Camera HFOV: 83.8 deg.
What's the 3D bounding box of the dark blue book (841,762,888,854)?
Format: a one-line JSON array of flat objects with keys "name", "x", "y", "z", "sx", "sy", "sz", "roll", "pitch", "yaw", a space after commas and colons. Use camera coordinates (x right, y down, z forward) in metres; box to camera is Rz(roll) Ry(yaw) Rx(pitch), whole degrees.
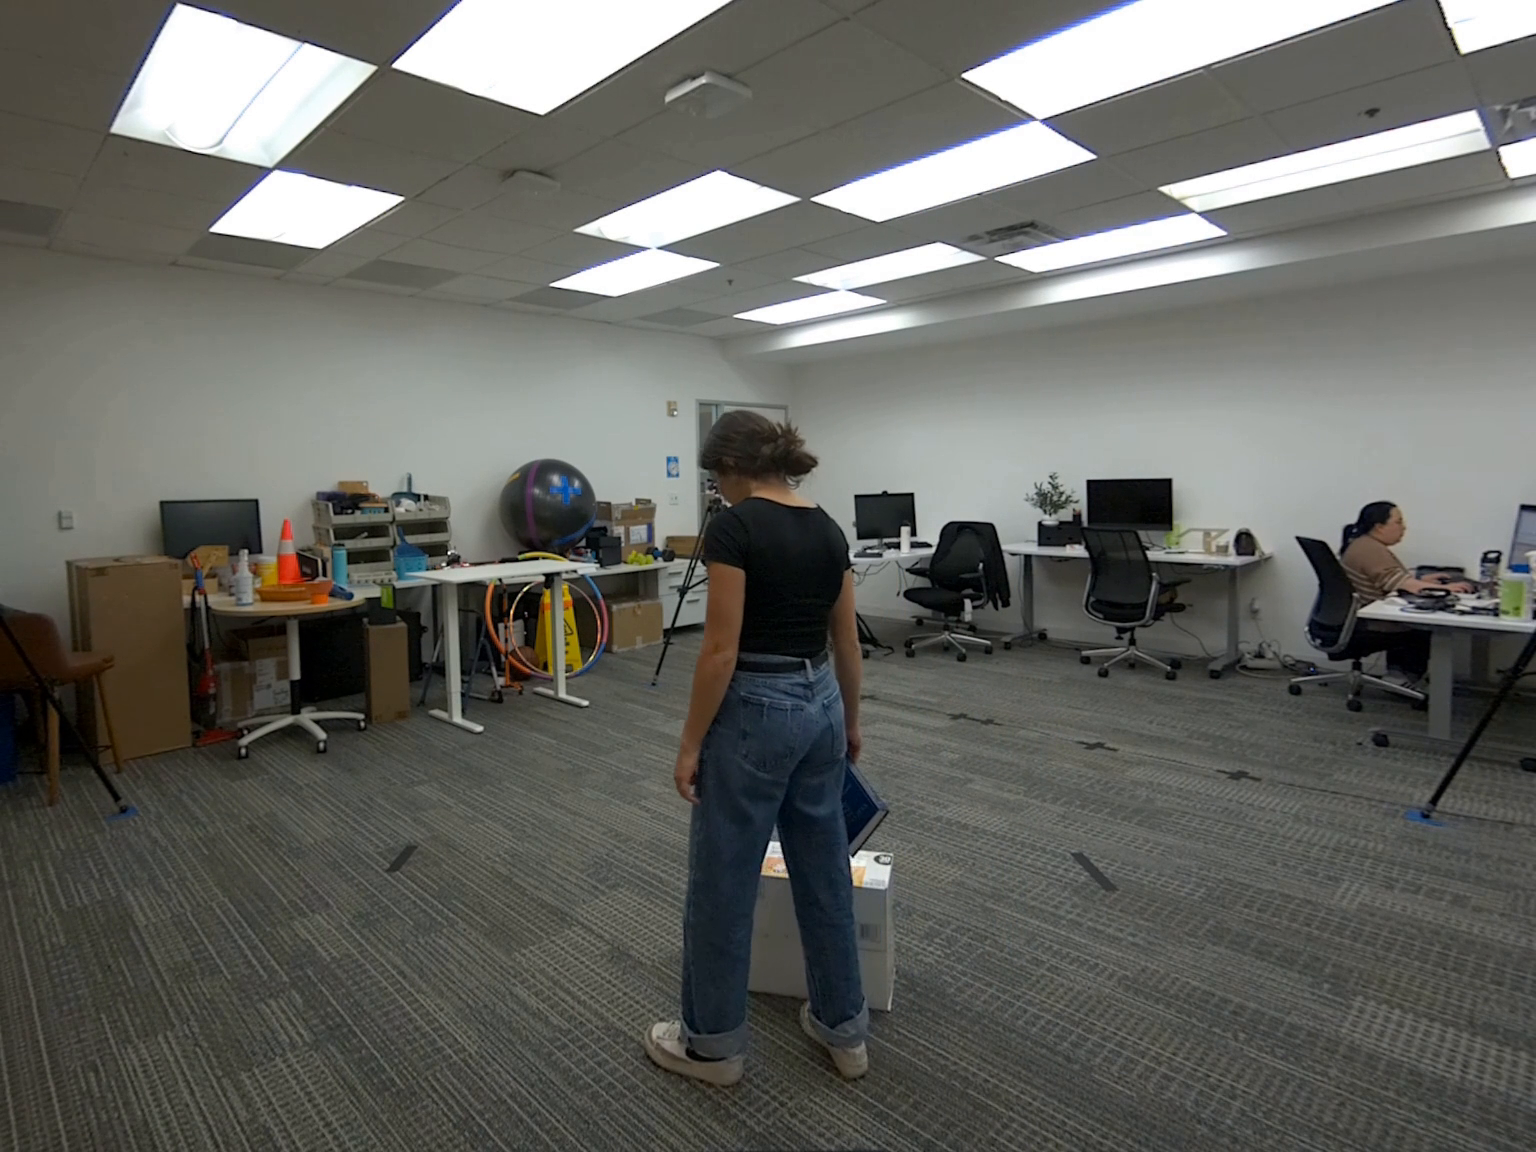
[{"name": "dark blue book", "x": 0.188, "y": 0.565, "z": 2.168, "sx": 0.043, "sy": 0.163, "sz": 0.255, "roll": 23, "pitch": 19, "yaw": -39}]
